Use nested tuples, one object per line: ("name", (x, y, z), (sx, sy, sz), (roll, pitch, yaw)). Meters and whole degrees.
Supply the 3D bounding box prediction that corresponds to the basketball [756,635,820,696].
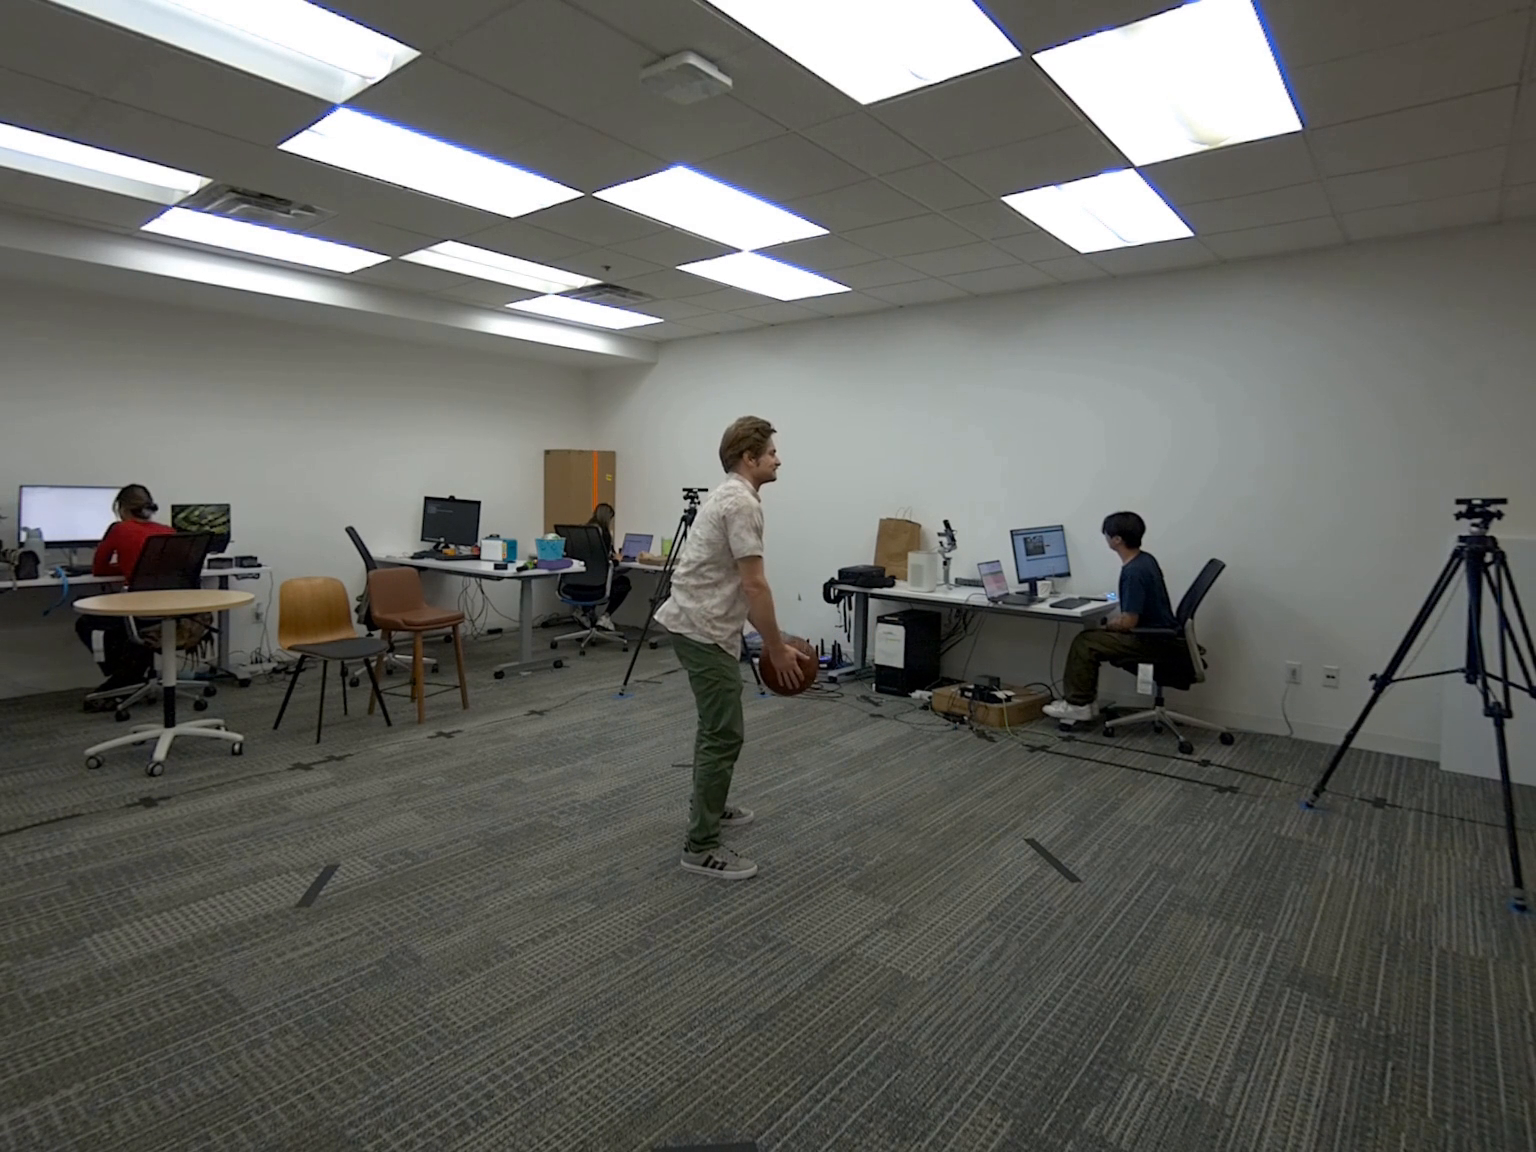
("basketball", (0.072, 0.341, 3.353), (0.236, 0.235, 0.237), (1, 4, -2))
